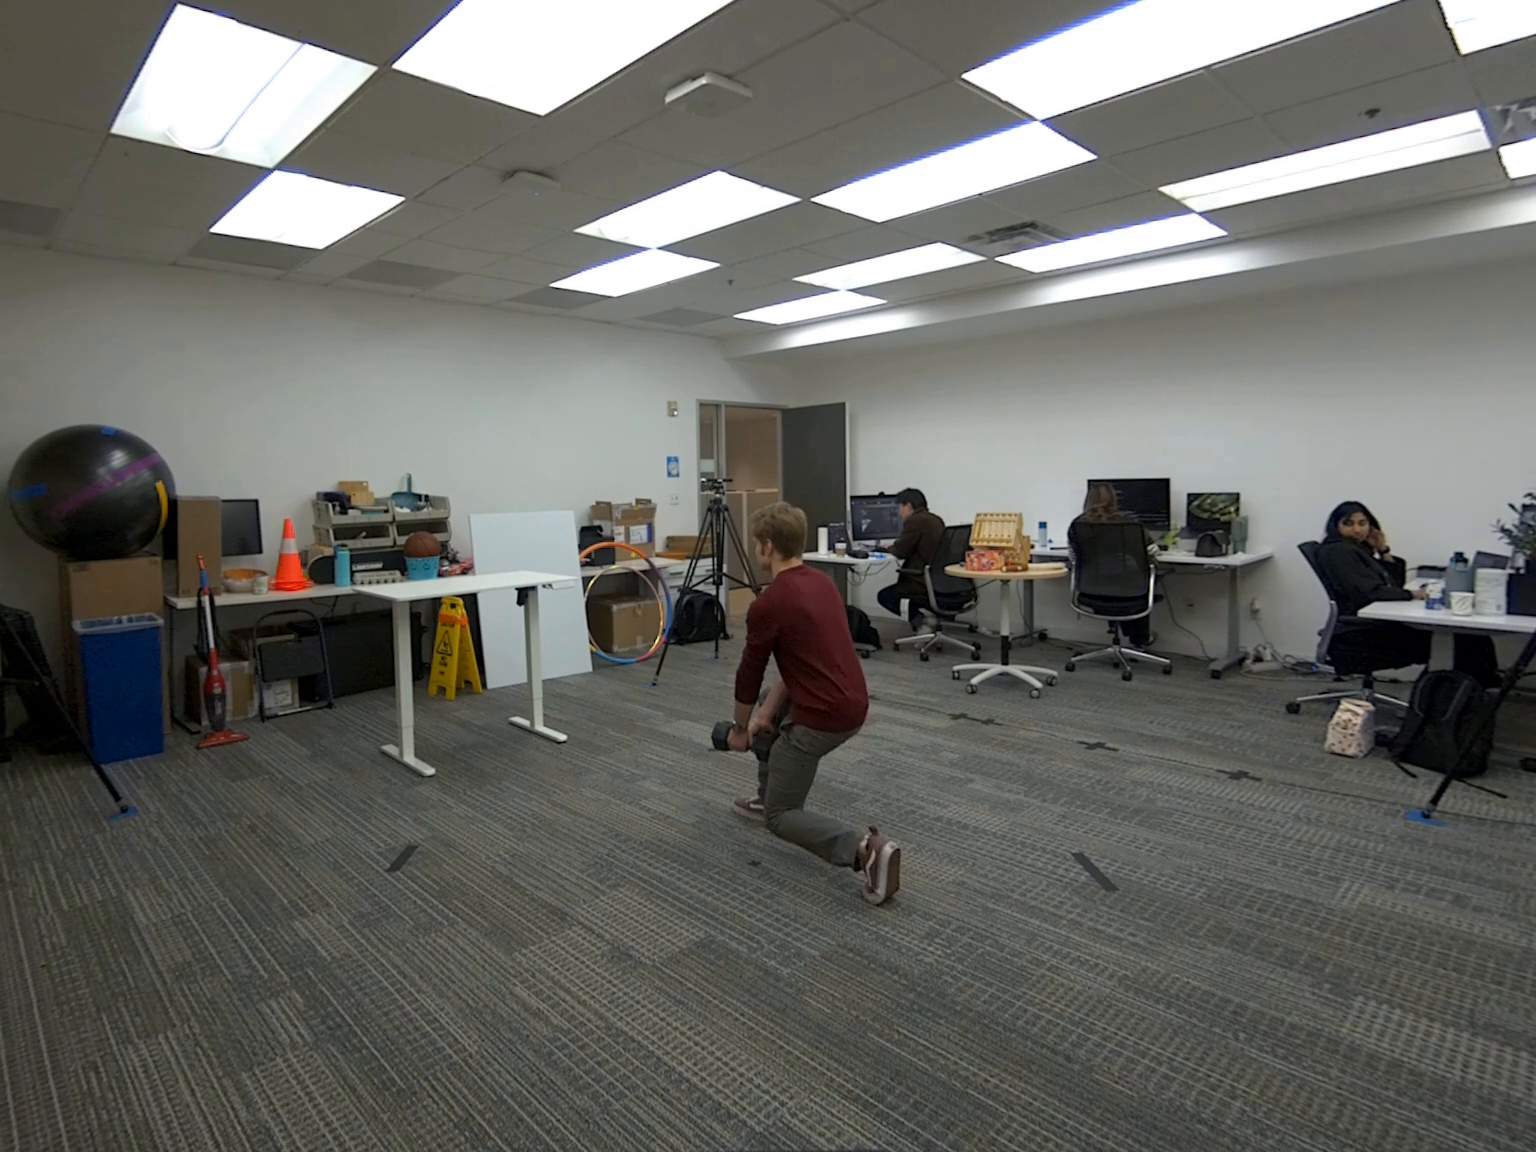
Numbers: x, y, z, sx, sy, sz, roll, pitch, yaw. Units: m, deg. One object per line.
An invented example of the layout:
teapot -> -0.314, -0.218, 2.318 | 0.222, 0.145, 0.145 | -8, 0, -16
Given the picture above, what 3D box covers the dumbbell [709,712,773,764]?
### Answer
dumbbell -> -0.069, 0.647, 3.381 | 0.303, 0.124, 0.104 | 7, -29, 37
